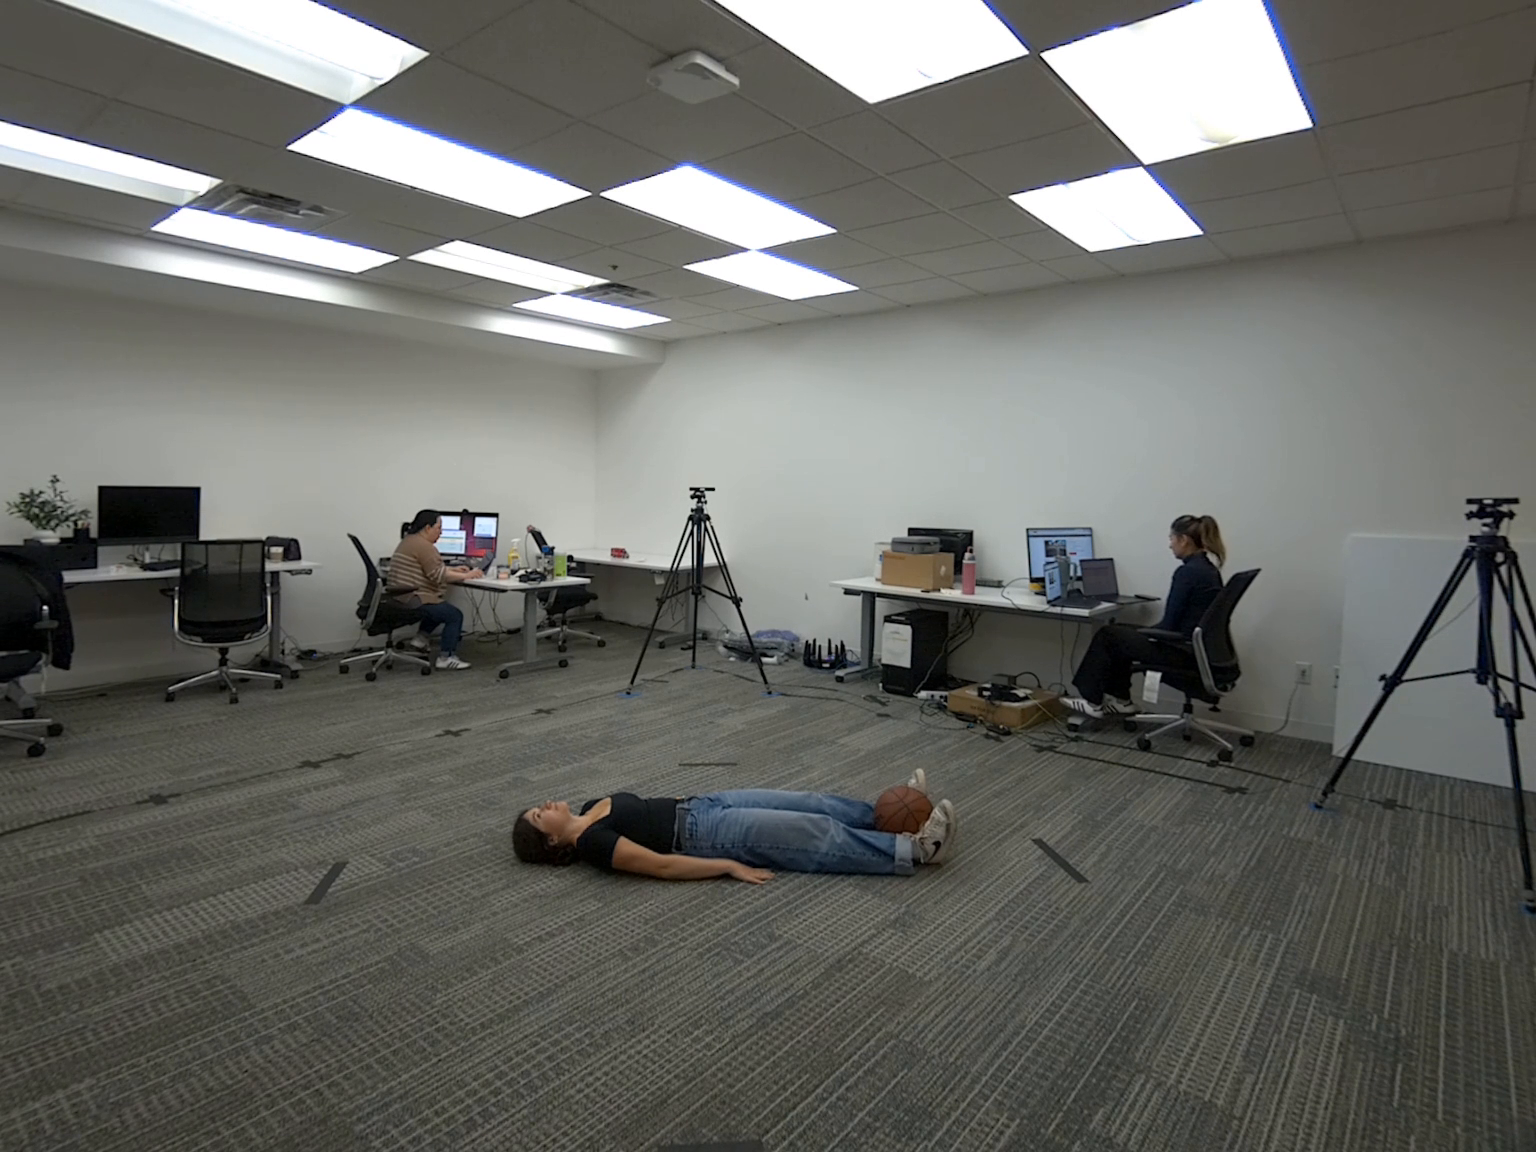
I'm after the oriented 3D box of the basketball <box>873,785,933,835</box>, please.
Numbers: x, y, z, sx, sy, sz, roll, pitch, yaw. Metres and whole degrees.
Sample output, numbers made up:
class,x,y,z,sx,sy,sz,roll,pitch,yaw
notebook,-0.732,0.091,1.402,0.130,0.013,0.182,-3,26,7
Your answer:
class,x,y,z,sx,sy,sz,roll,pitch,yaw
basketball,0.522,0.933,3.315,0.235,0.235,0.237,1,4,-2
